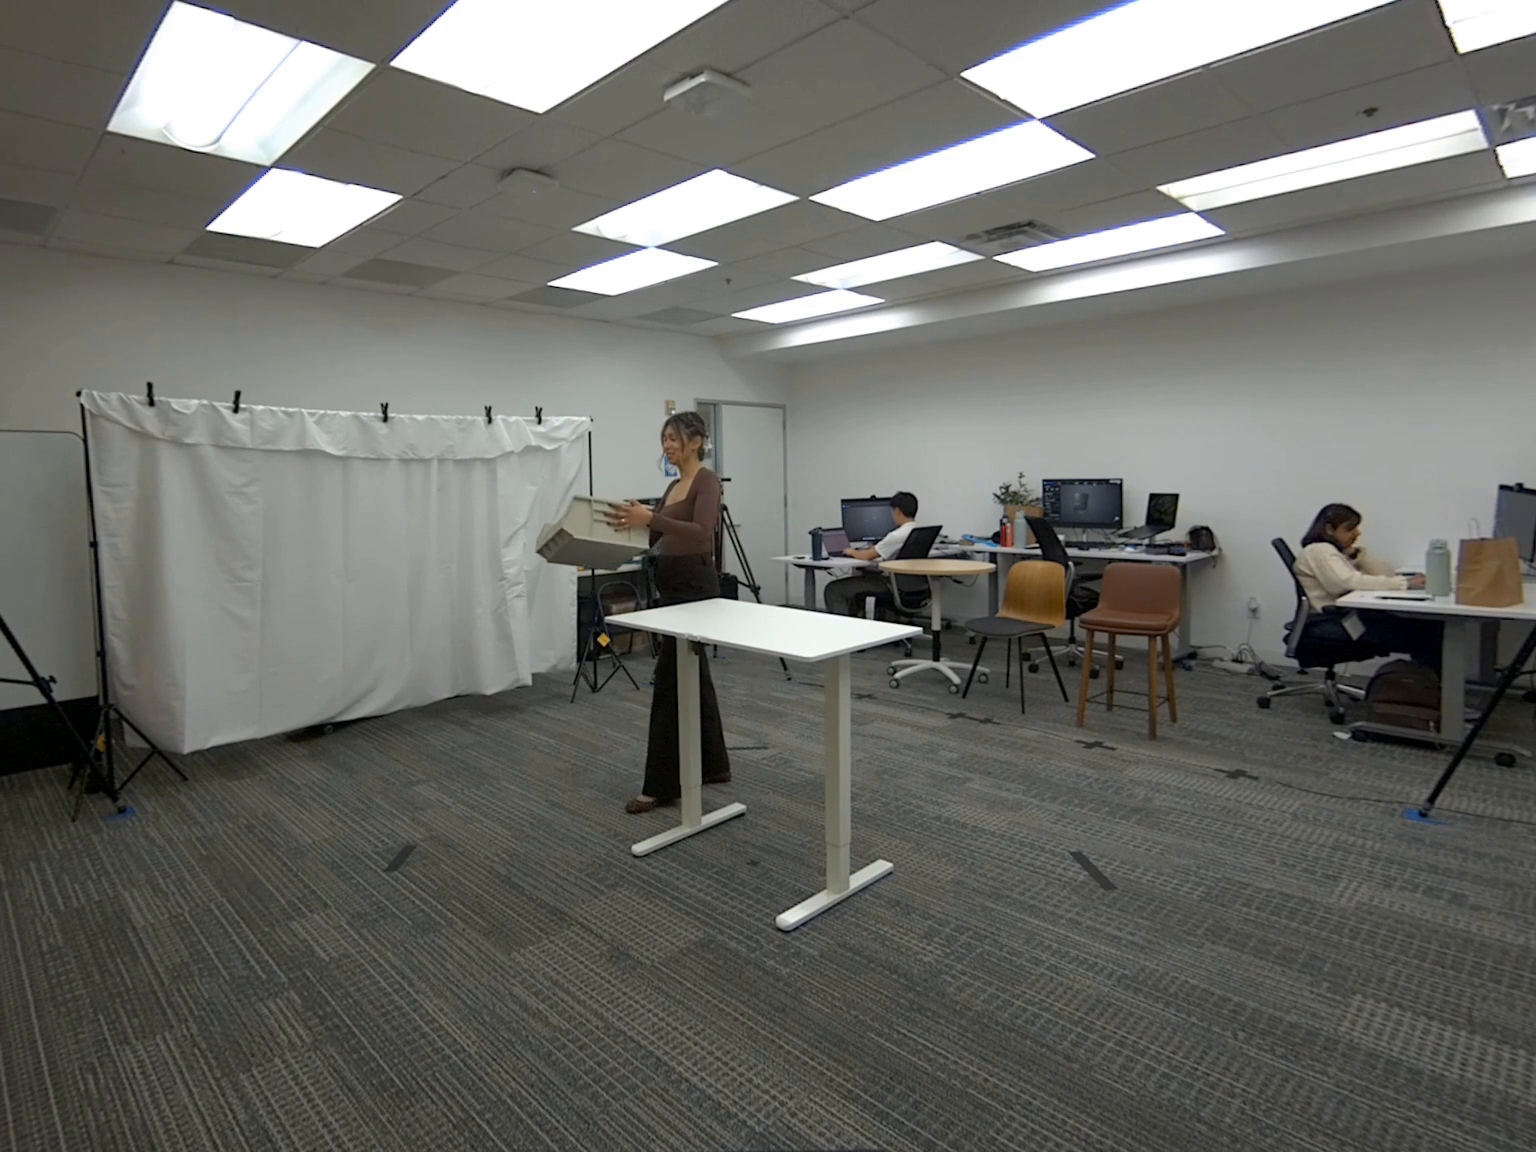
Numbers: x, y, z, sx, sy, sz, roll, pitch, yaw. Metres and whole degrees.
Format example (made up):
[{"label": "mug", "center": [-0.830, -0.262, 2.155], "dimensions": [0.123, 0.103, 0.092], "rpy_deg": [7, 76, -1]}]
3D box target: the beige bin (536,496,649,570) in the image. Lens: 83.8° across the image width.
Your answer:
[{"label": "beige bin", "center": [-0.736, -0.172, 3.551], "dimensions": [0.368, 0.192, 0.427], "rpy_deg": [9, -18, -26]}]
